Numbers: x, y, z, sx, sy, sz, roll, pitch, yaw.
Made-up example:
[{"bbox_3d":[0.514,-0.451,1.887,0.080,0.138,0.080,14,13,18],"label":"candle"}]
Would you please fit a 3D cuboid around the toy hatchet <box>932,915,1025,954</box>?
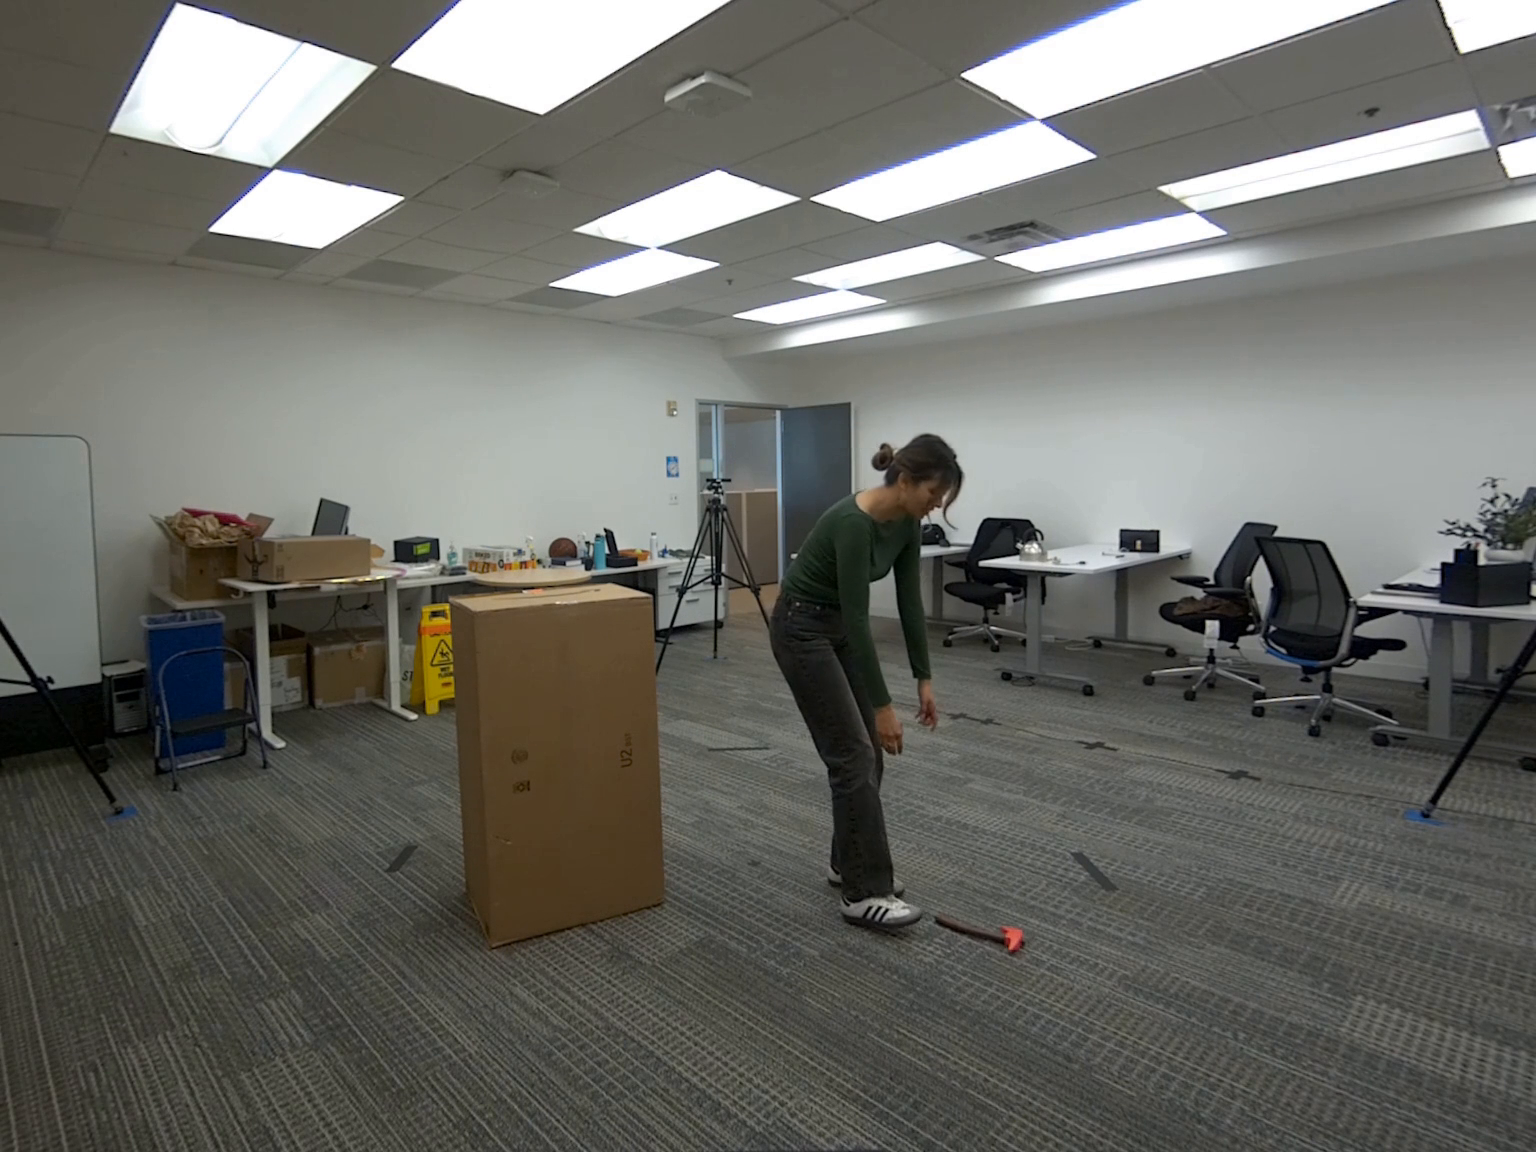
[{"bbox_3d":[0.656,1.070,2.612,0.128,0.029,0.278,-8,8,-44],"label":"toy hatchet"}]
